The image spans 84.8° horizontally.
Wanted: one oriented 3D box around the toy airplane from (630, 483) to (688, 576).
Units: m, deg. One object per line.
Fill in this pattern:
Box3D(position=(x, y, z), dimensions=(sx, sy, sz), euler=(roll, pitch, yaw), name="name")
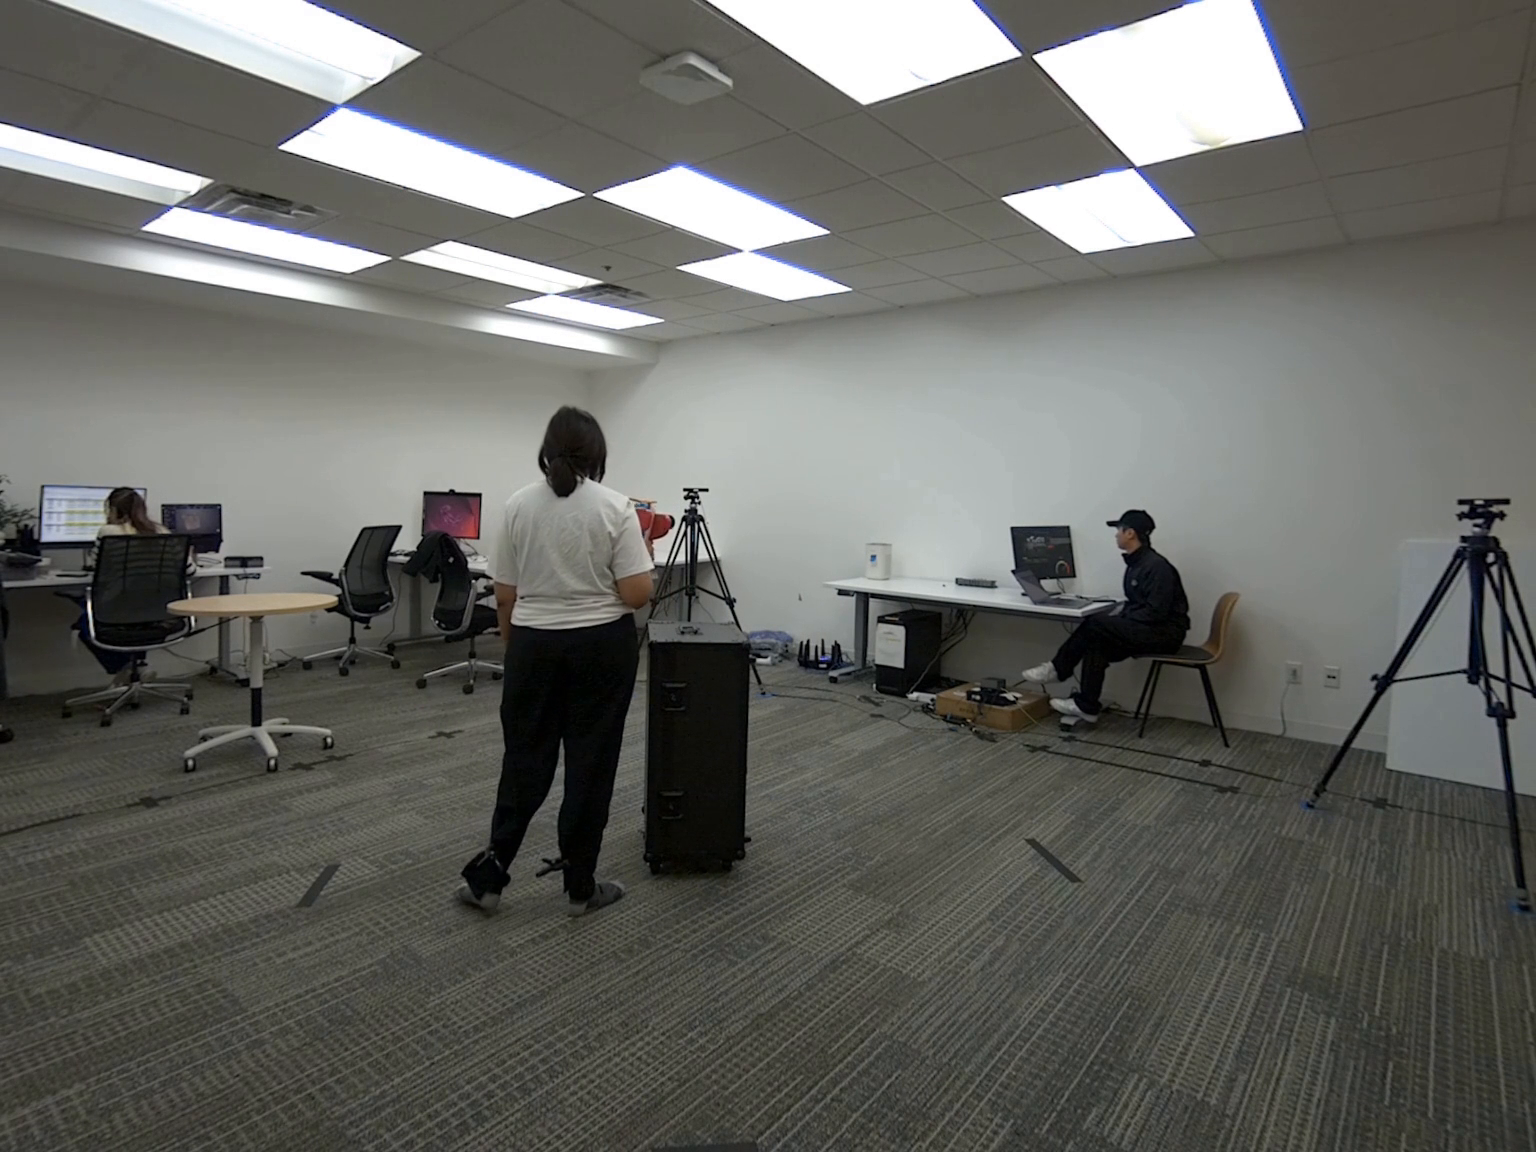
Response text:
Box3D(position=(-0.449, -0.145, 3.032), dimensions=(0.254, 0.266, 0.151), euler=(-29, -50, 35), name="toy airplane")
